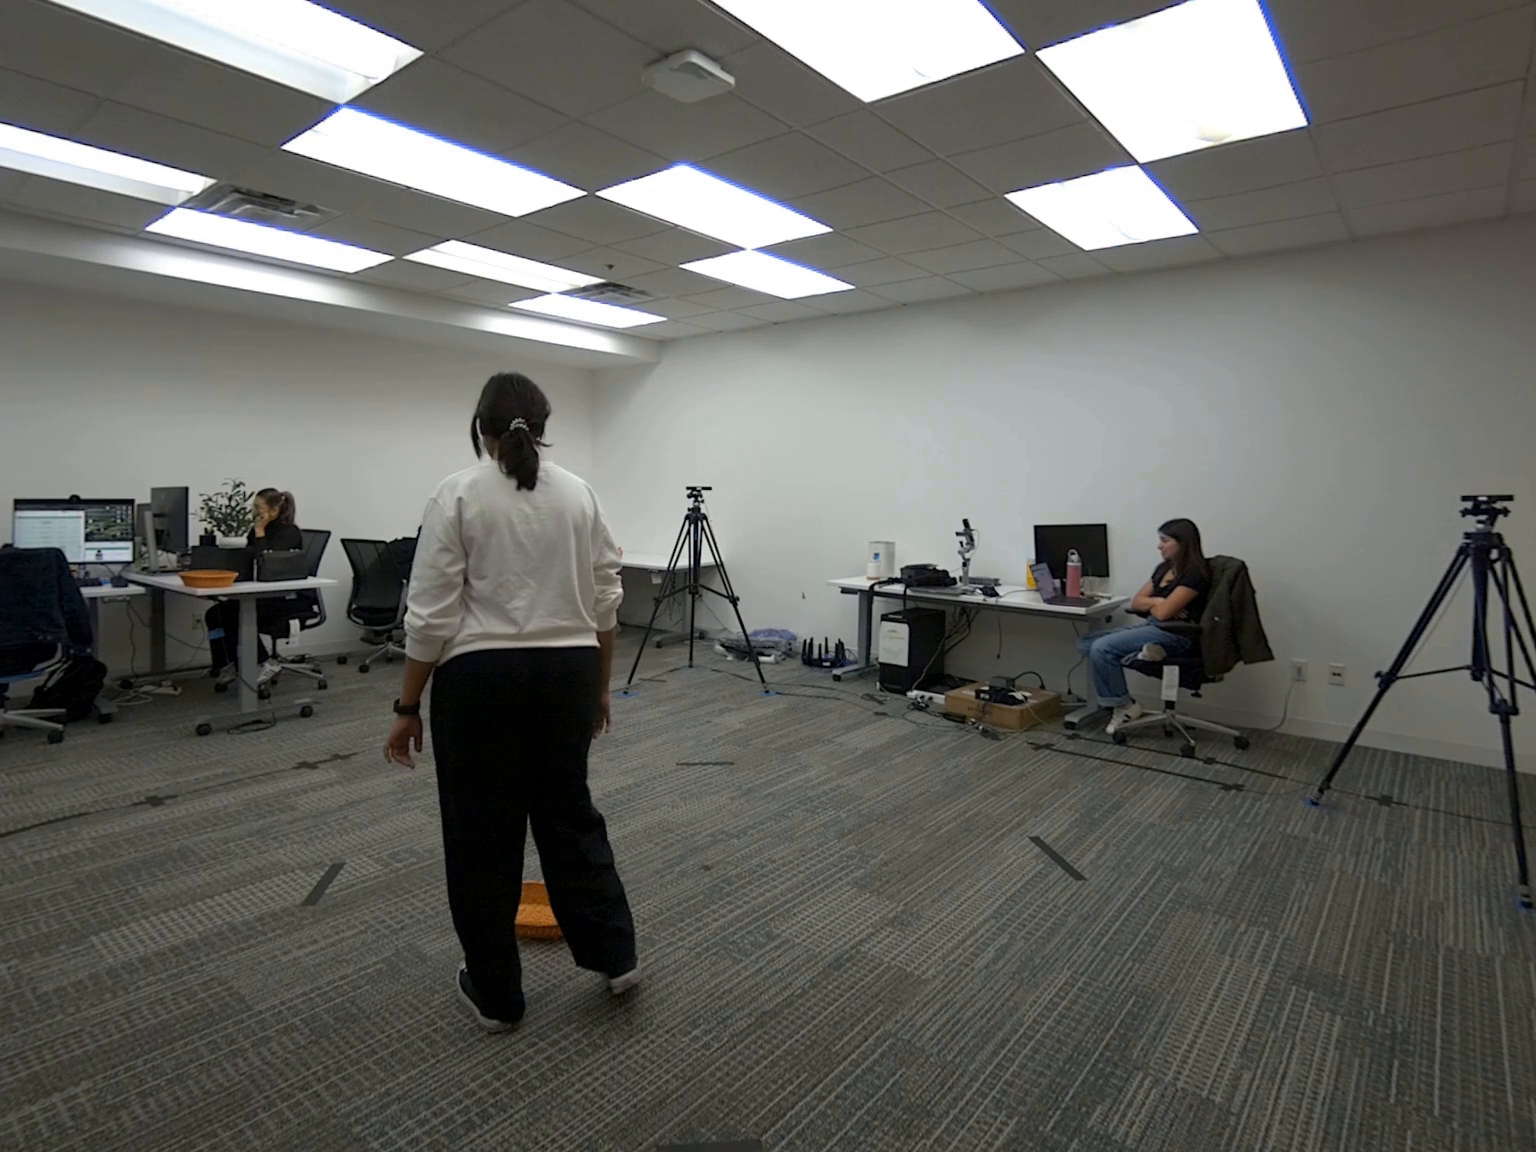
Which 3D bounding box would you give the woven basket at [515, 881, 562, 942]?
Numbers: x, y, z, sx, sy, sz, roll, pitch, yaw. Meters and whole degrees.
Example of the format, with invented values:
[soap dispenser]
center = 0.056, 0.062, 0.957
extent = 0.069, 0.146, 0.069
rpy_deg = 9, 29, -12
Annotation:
[woven basket]
center = -0.728, 1.056, 2.690
extent = 0.356, 0.073, 0.250
rpy_deg = 3, 7, 14
